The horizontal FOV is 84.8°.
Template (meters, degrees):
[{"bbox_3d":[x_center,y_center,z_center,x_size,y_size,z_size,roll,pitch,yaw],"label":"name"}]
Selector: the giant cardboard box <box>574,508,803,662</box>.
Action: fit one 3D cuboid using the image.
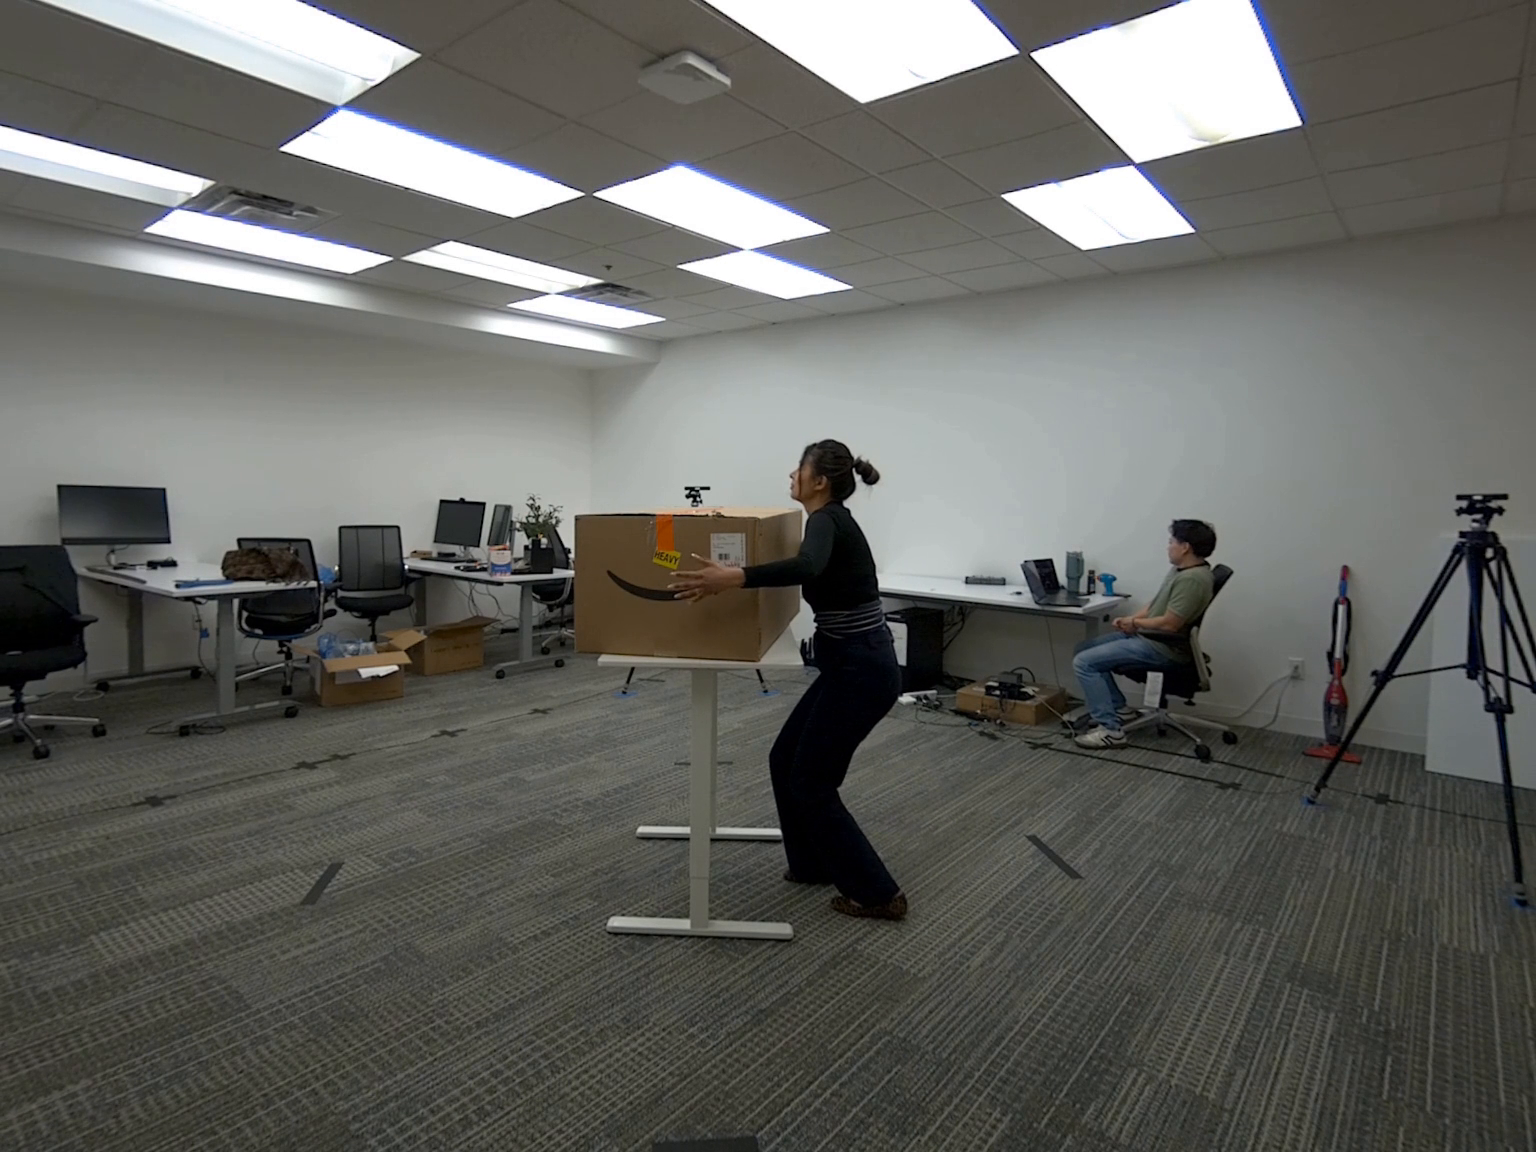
[{"bbox_3d":[-0.237,-0.022,3.019,0.585,0.424,1.017,1,6,10],"label":"giant cardboard box"}]
